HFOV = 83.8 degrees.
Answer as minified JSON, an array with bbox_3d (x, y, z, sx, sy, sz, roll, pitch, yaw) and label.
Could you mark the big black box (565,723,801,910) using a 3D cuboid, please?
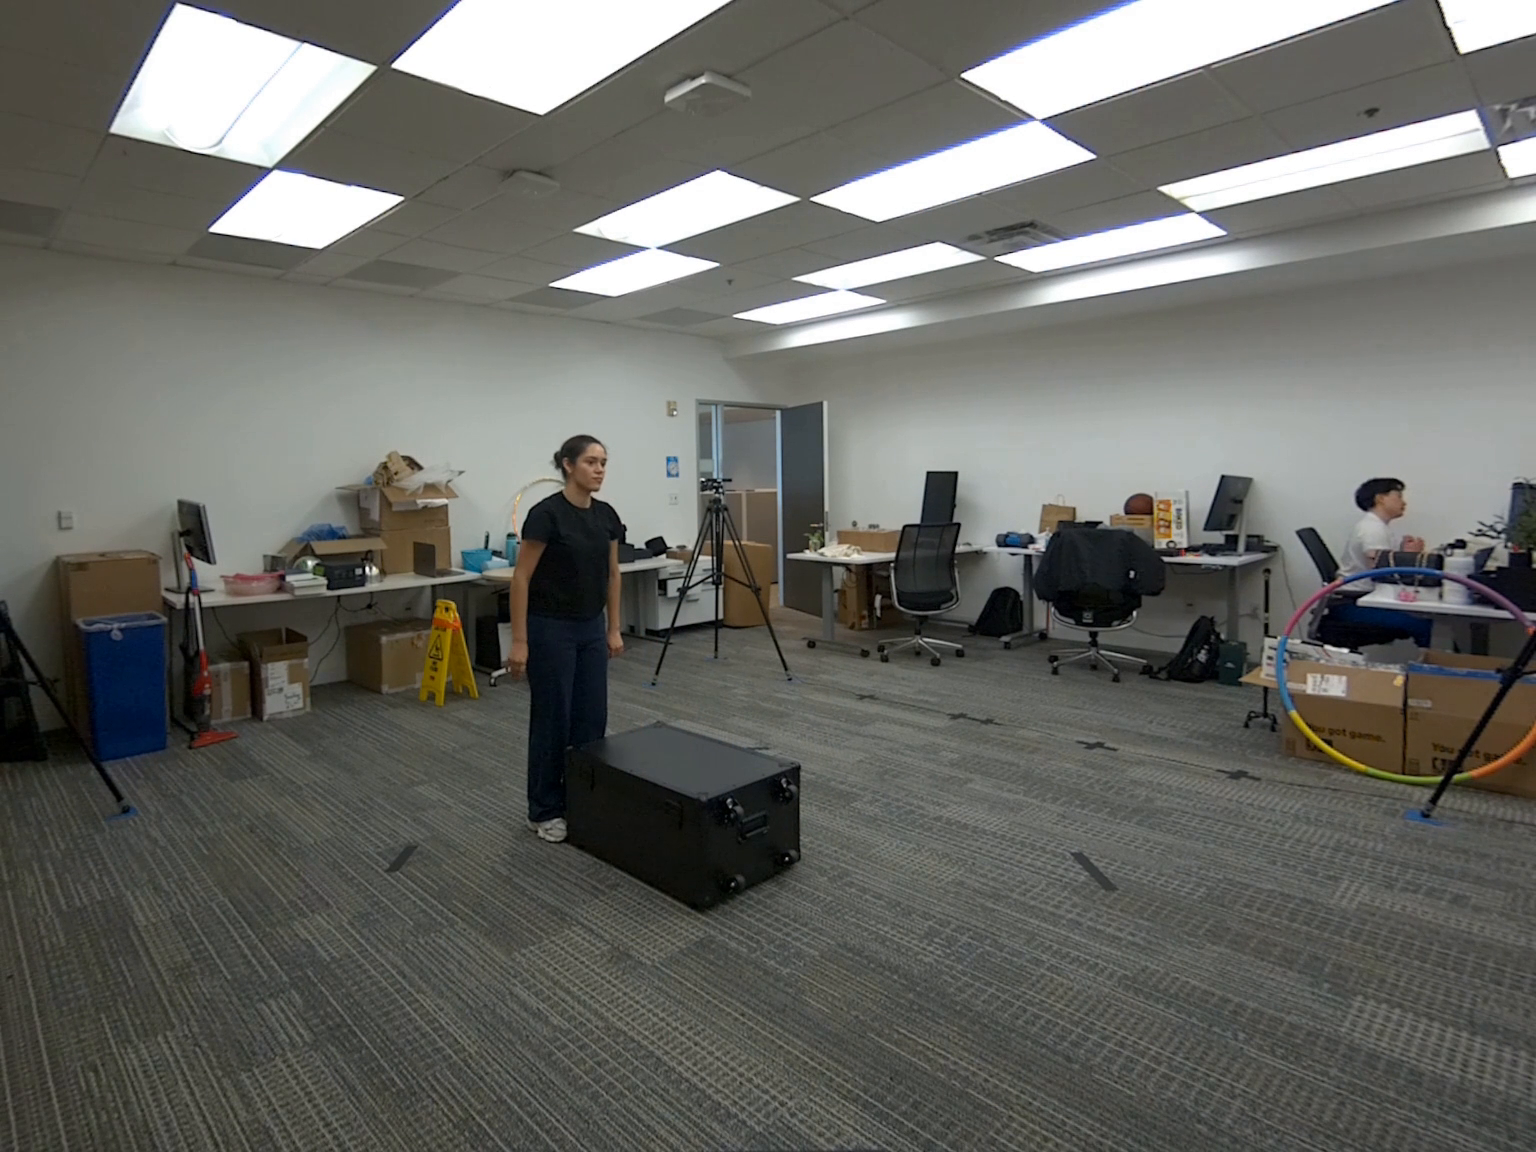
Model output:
[{"bbox_3d":[-0.302,0.836,3.161,0.888,0.394,0.507,5,8,44],"label":"big black box"}]
